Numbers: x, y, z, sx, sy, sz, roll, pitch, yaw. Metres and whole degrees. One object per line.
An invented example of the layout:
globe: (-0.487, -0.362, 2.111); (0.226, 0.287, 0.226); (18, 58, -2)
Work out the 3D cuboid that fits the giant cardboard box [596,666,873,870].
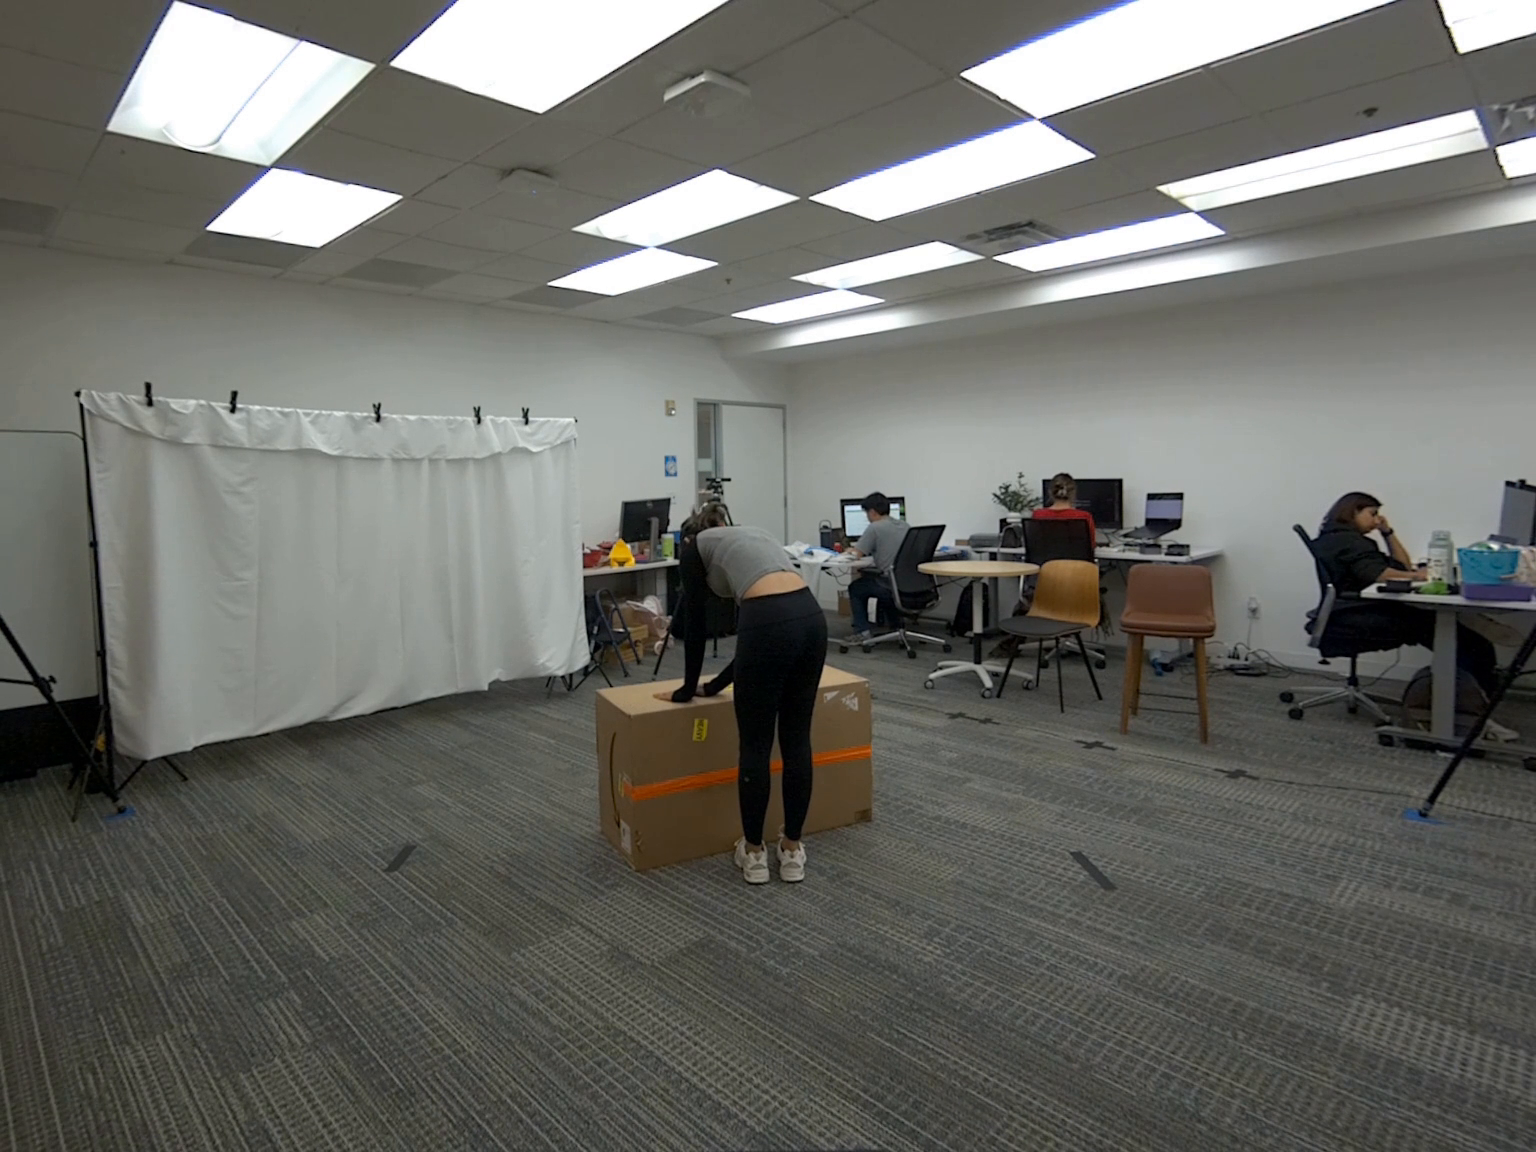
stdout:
giant cardboard box: (-0.132, 0.720, 3.430); (1.005, 0.575, 0.437); (-4, 5, -25)
